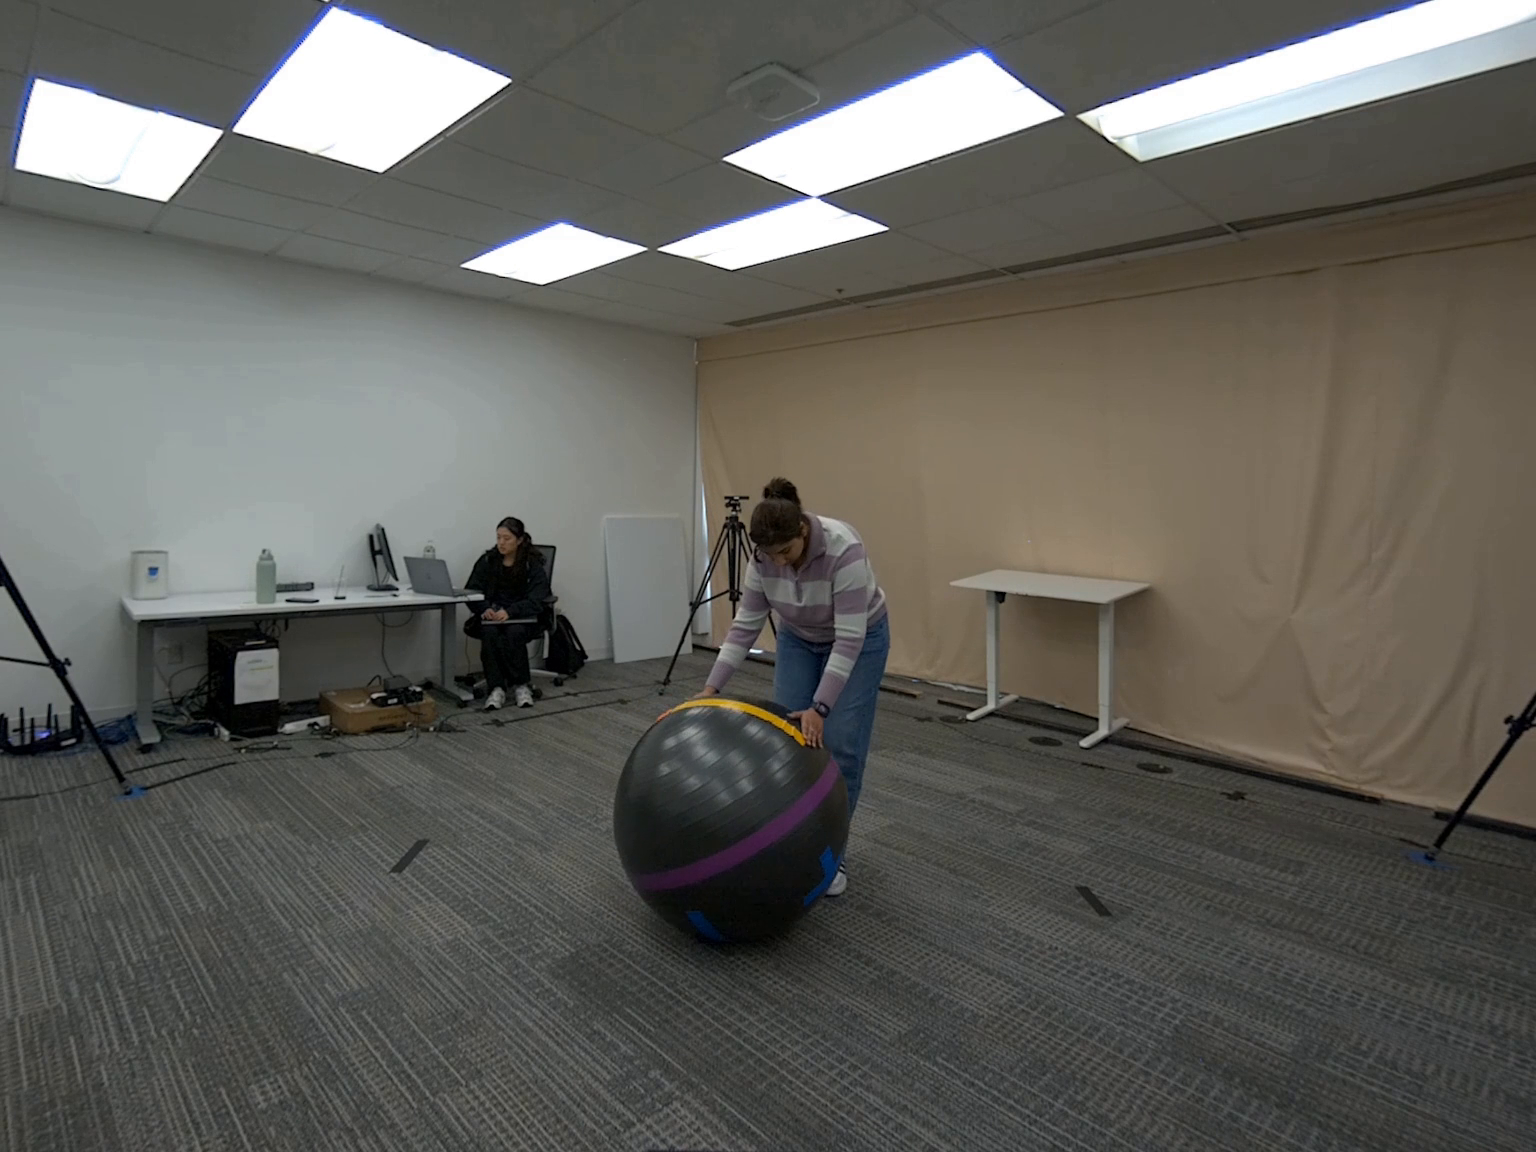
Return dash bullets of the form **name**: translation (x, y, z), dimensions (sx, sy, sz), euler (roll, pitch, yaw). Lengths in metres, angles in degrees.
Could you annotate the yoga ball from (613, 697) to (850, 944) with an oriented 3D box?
- **yoga ball**: translation (-0.128, 0.772, 2.711), dimensions (0.757, 0.756, 0.761), euler (1, 4, -1)
